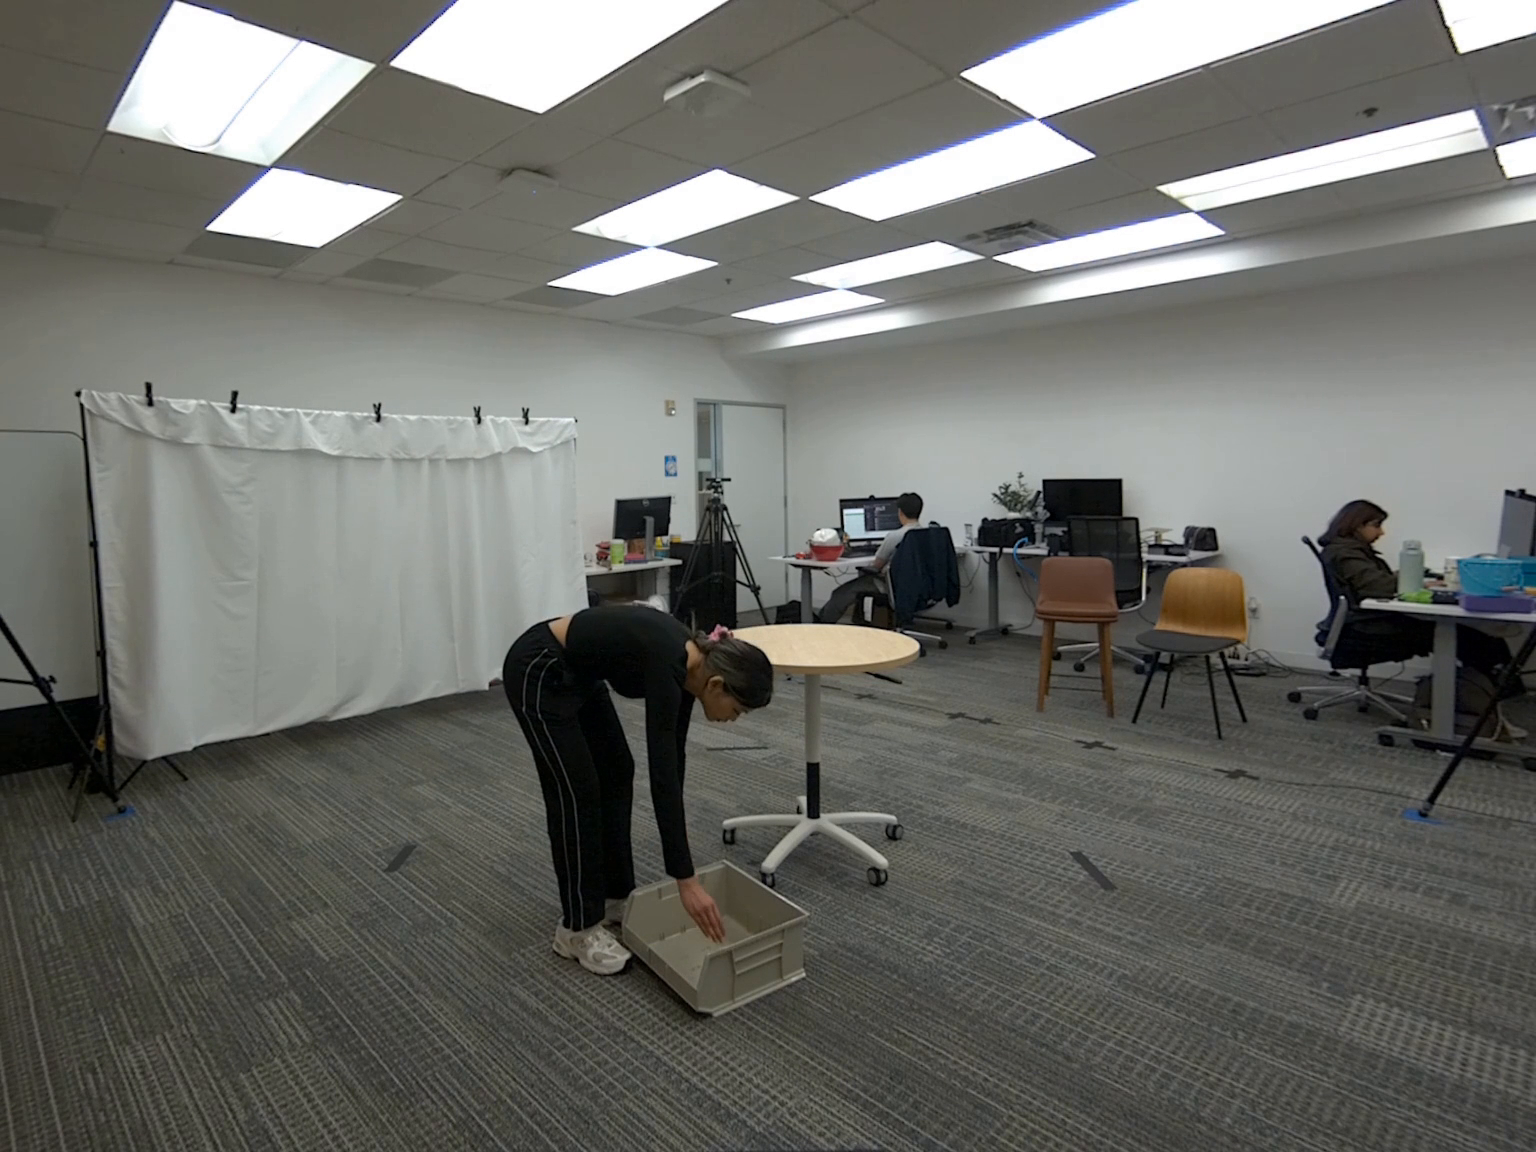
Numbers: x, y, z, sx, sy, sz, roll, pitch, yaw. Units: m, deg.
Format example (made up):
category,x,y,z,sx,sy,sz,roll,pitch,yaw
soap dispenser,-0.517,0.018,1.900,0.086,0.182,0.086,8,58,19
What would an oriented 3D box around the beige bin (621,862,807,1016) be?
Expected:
category,x,y,z,sx,sy,sz,roll,pitch,yaw
beige bin,-0.155,1.029,2.456,0.368,0.188,0.435,-4,7,-35
